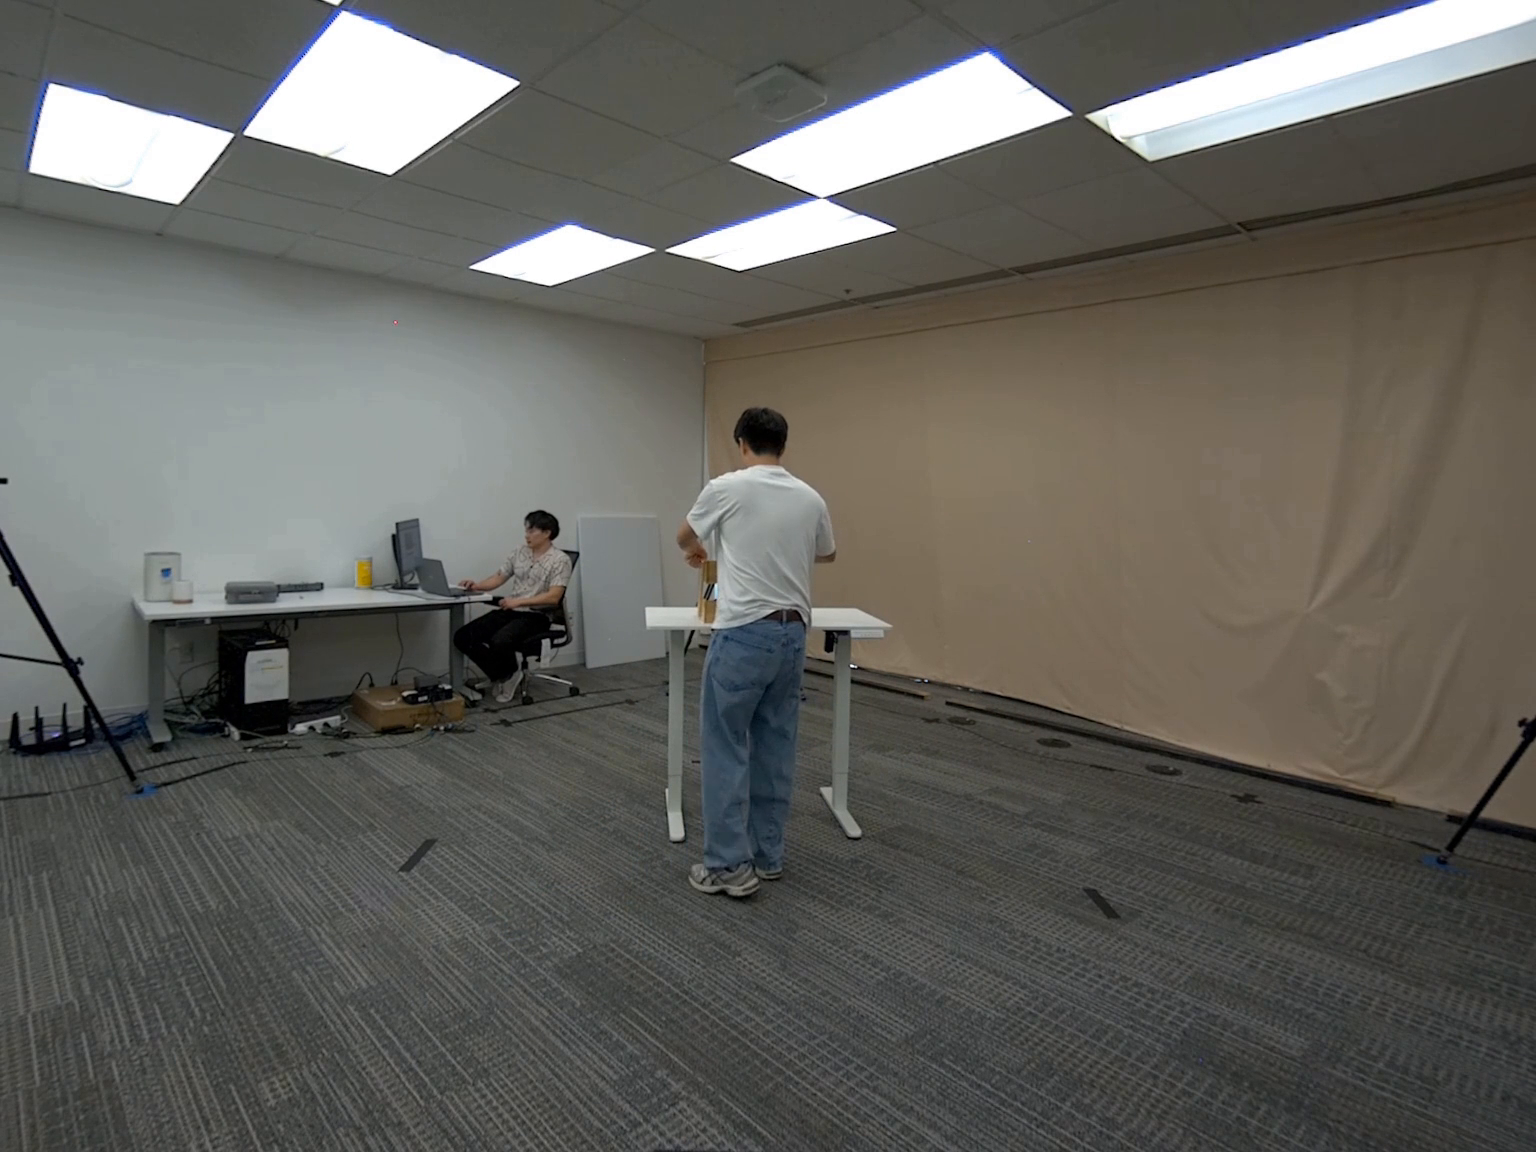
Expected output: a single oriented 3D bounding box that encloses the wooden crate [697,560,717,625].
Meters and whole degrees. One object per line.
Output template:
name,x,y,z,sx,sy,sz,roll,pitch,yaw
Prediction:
wooden crate,-0.133,0.055,3.542,0.322,0.272,0.305,0,5,-10
